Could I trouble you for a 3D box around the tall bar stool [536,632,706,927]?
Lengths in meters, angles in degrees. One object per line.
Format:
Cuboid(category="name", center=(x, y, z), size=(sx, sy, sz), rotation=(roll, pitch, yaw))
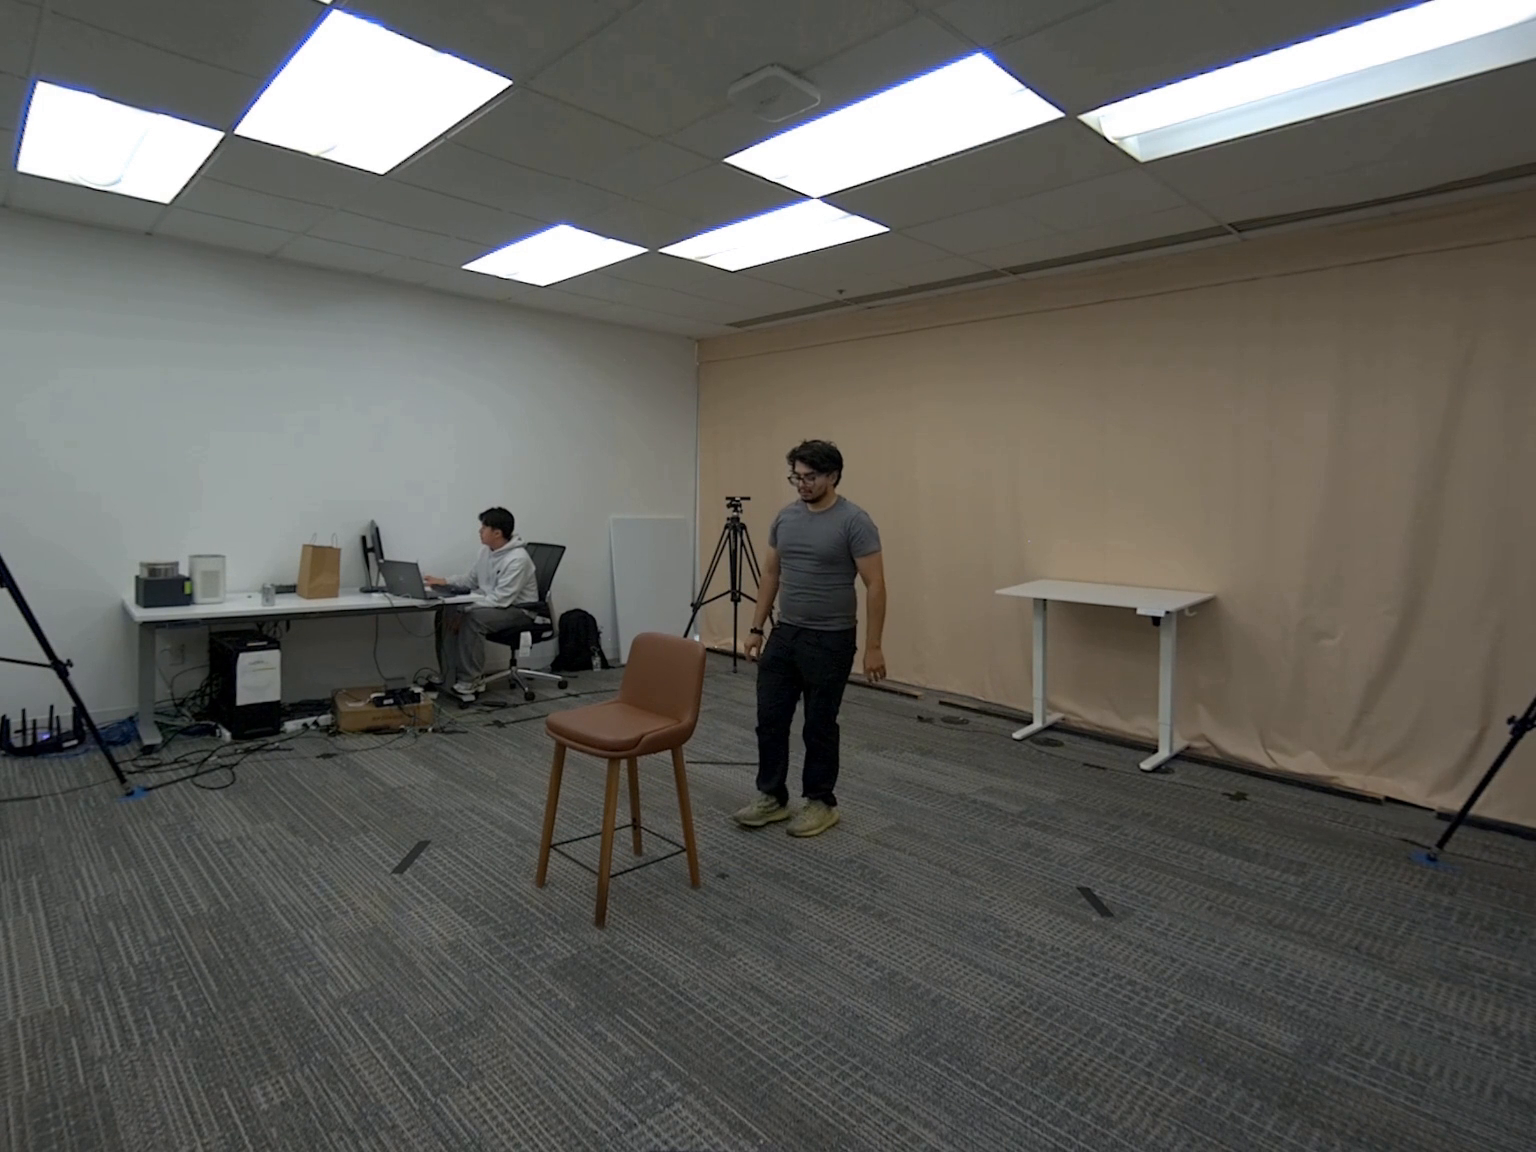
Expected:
Cuboid(category="tall bar stool", center=(-0.519, 0.675, 2.979), size=(0.456, 0.888, 0.468), rotation=(0, 3, -44))
